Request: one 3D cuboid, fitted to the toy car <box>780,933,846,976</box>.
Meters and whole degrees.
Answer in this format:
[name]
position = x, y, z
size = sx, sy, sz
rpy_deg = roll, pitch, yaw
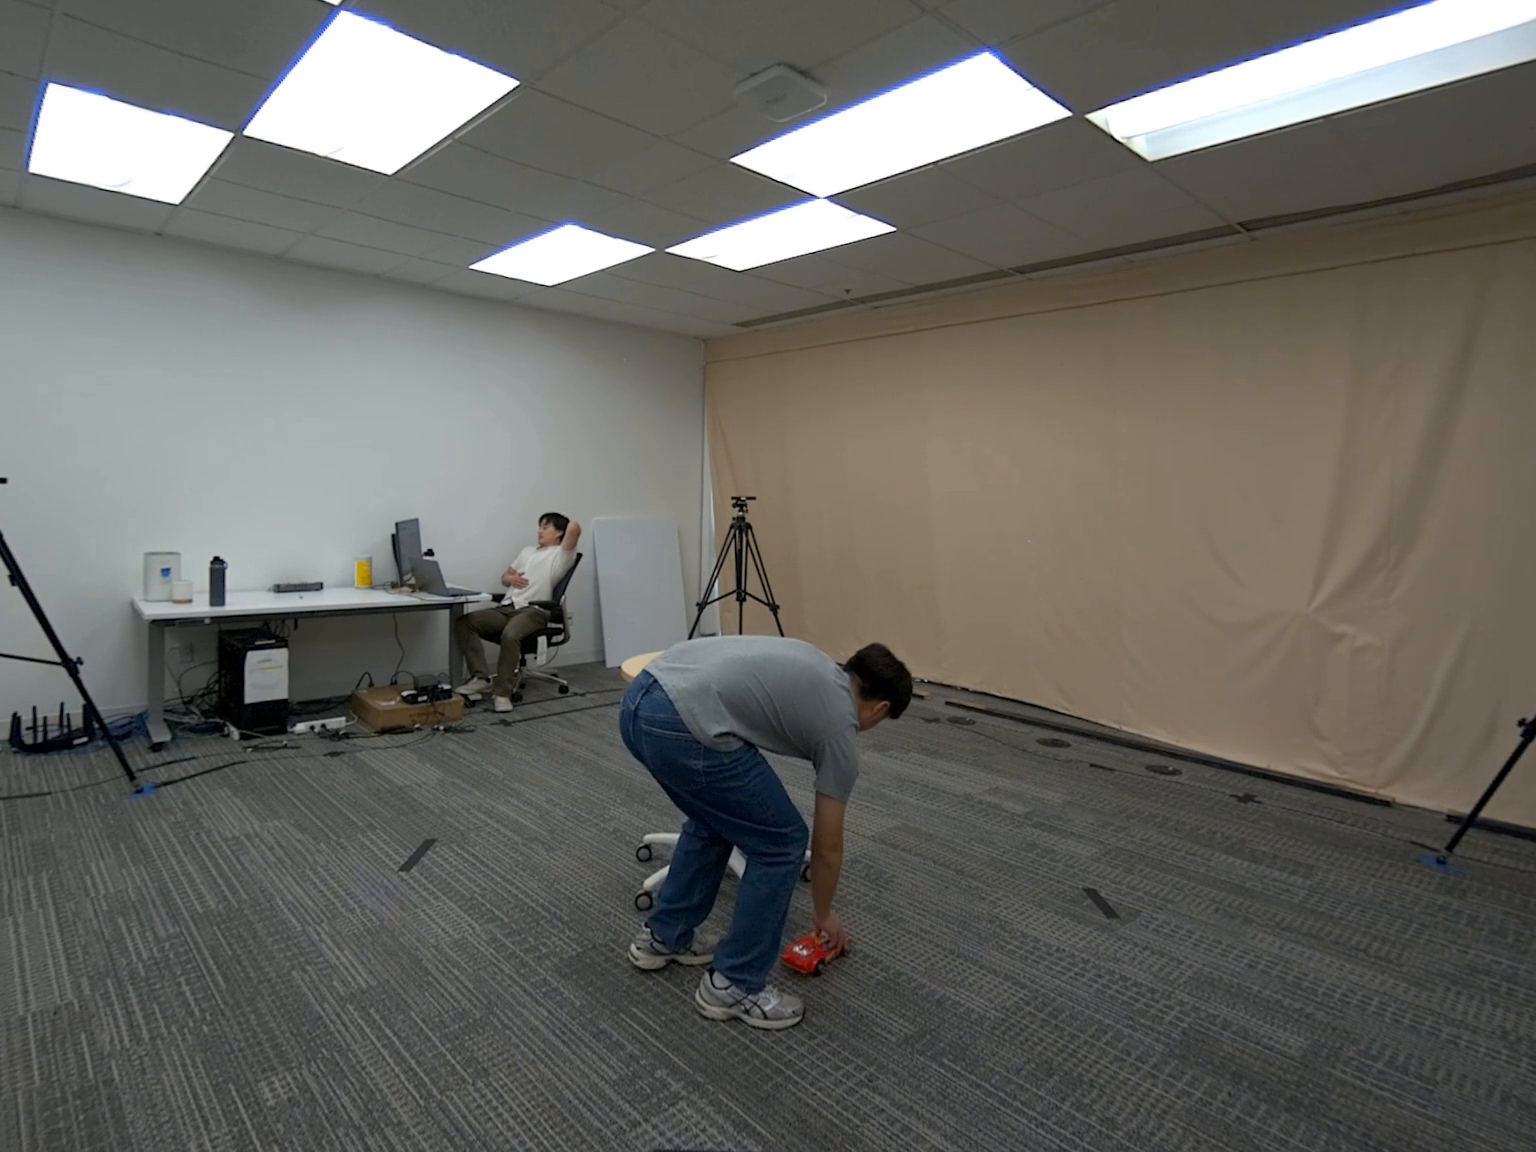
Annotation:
[toy car]
position = 0.131, 1.137, 2.528
size = 0.134, 0.083, 0.247
rpy_deg = 7, -3, 41
